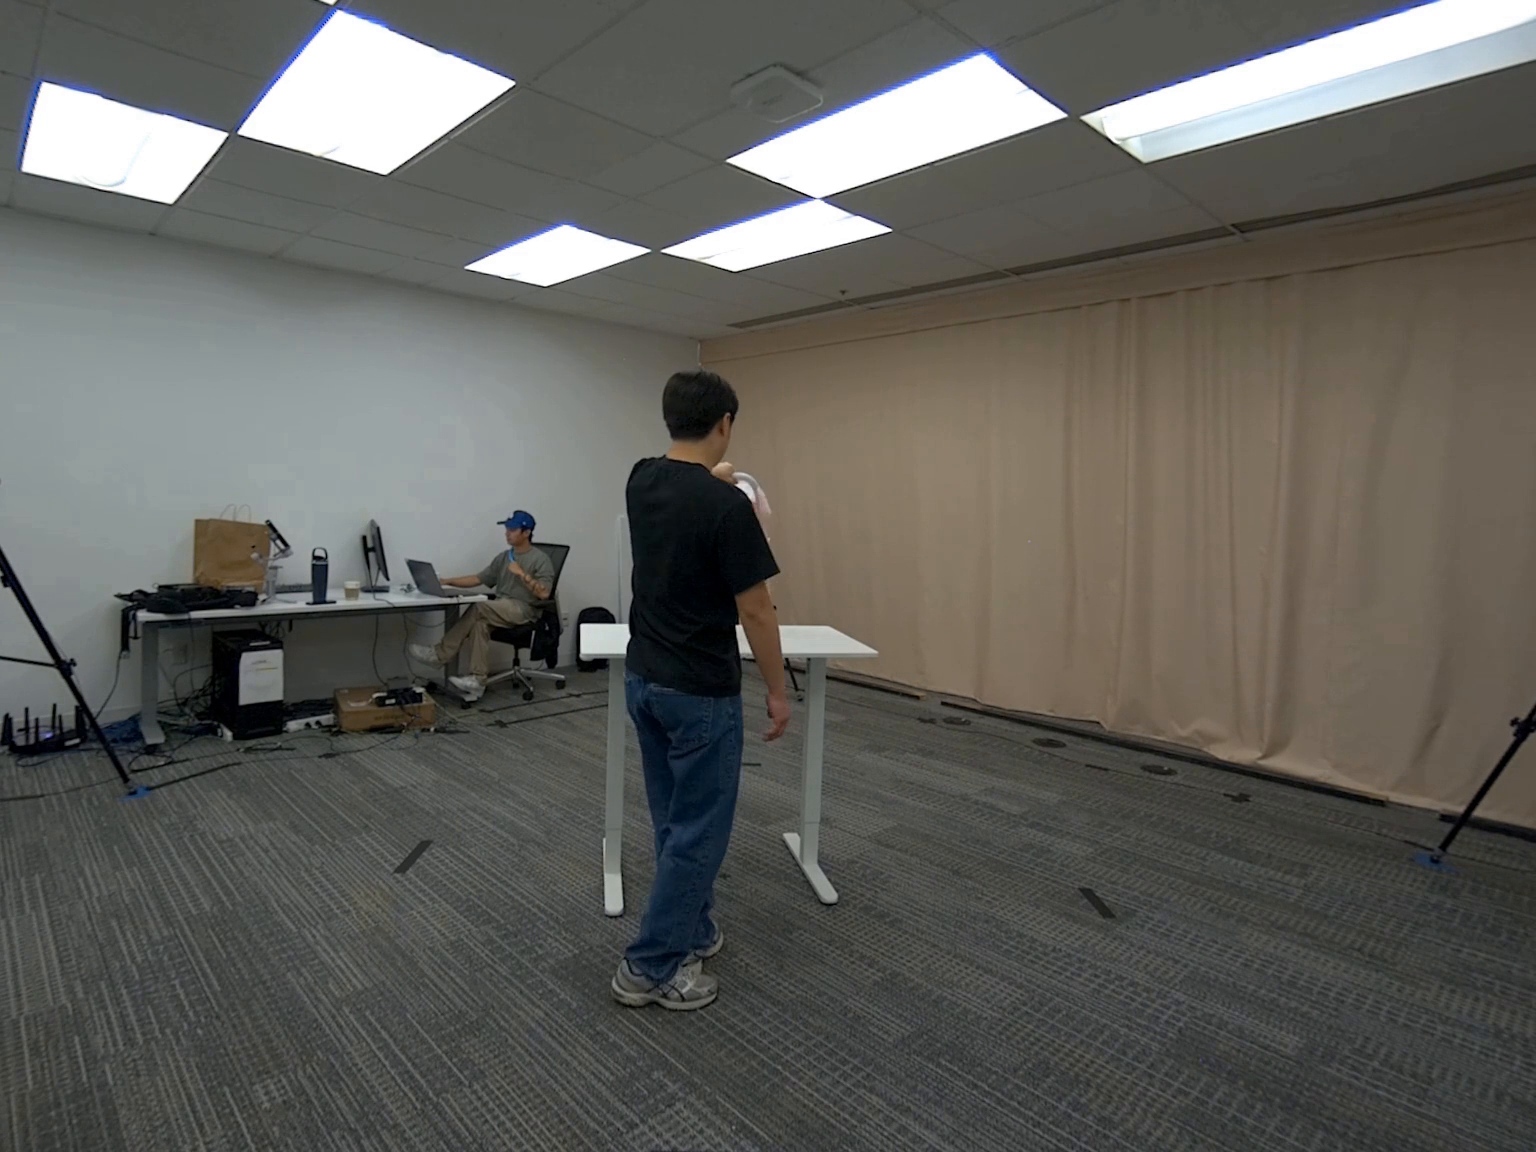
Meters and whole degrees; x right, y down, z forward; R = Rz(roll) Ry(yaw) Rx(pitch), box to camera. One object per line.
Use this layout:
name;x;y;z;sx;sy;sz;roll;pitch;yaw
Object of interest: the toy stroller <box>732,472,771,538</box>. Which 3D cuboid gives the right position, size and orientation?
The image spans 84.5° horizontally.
toy stroller;-0.109;-0.118;3.162;0.286;0.532;0.337;2;6;19
